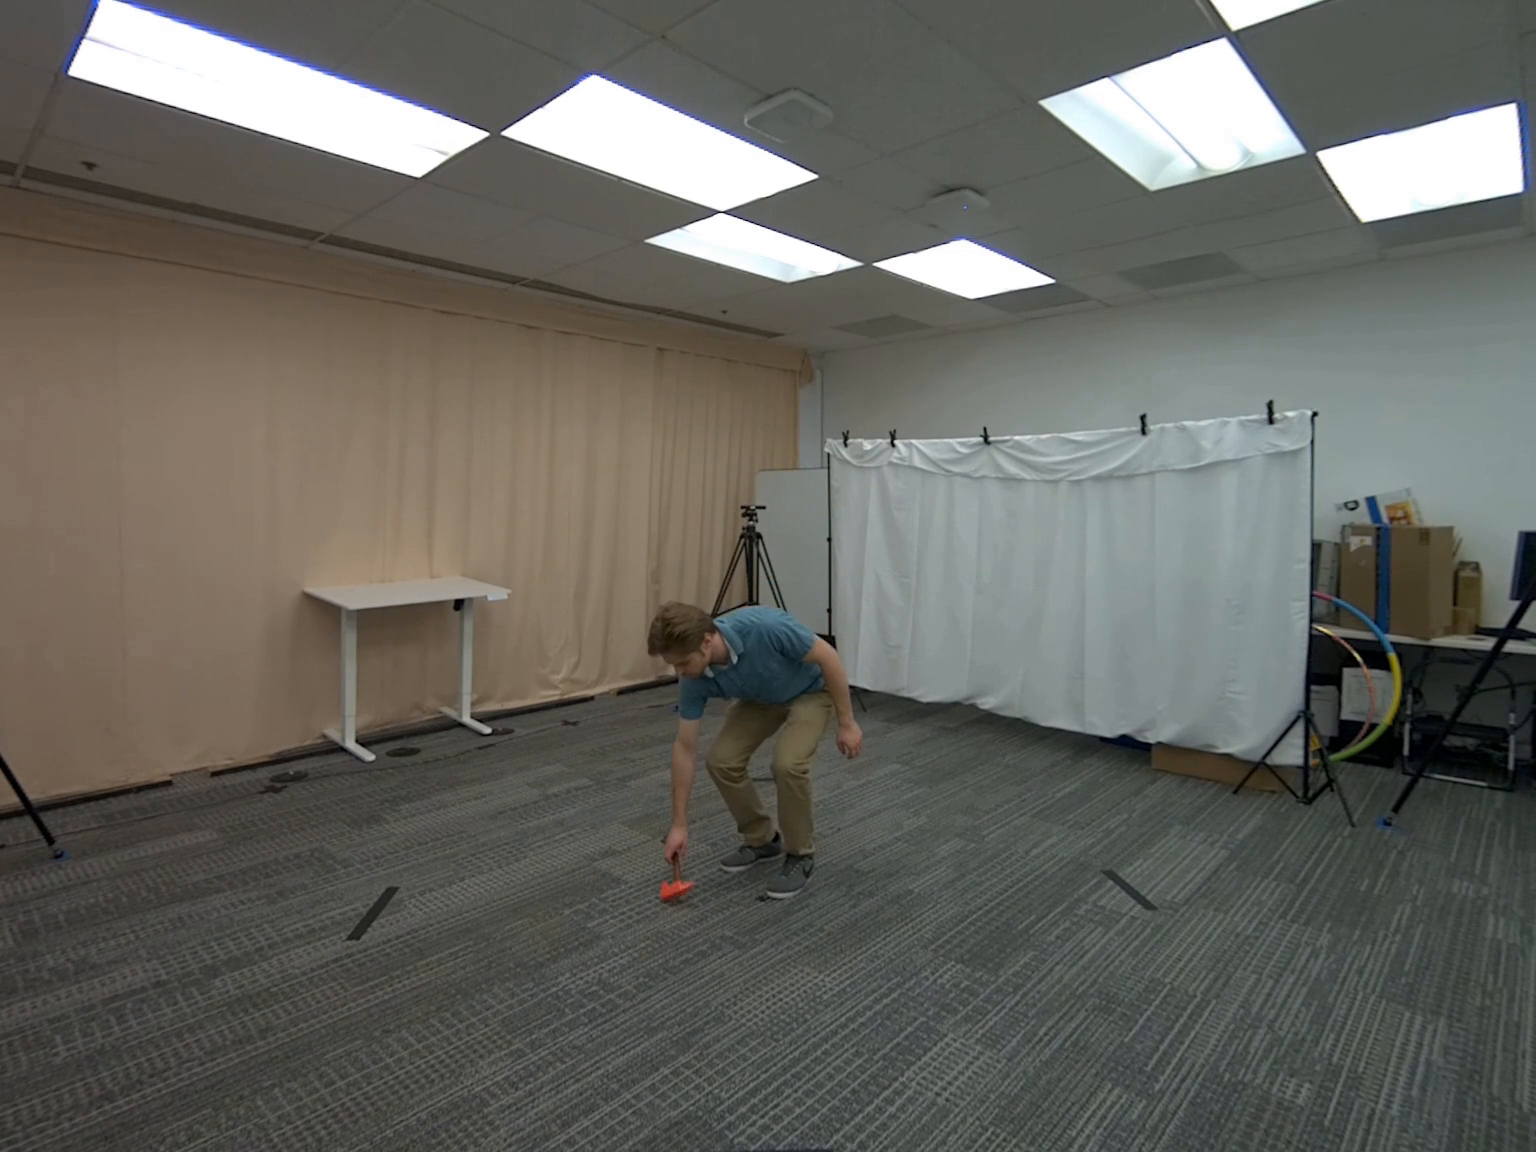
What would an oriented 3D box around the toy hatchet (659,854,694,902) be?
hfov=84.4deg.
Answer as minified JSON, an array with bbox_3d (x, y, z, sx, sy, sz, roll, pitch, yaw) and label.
[{"bbox_3d":[-0.363,1.059,3.027,0.130,0.029,0.277,-27,25,-9],"label":"toy hatchet"}]
